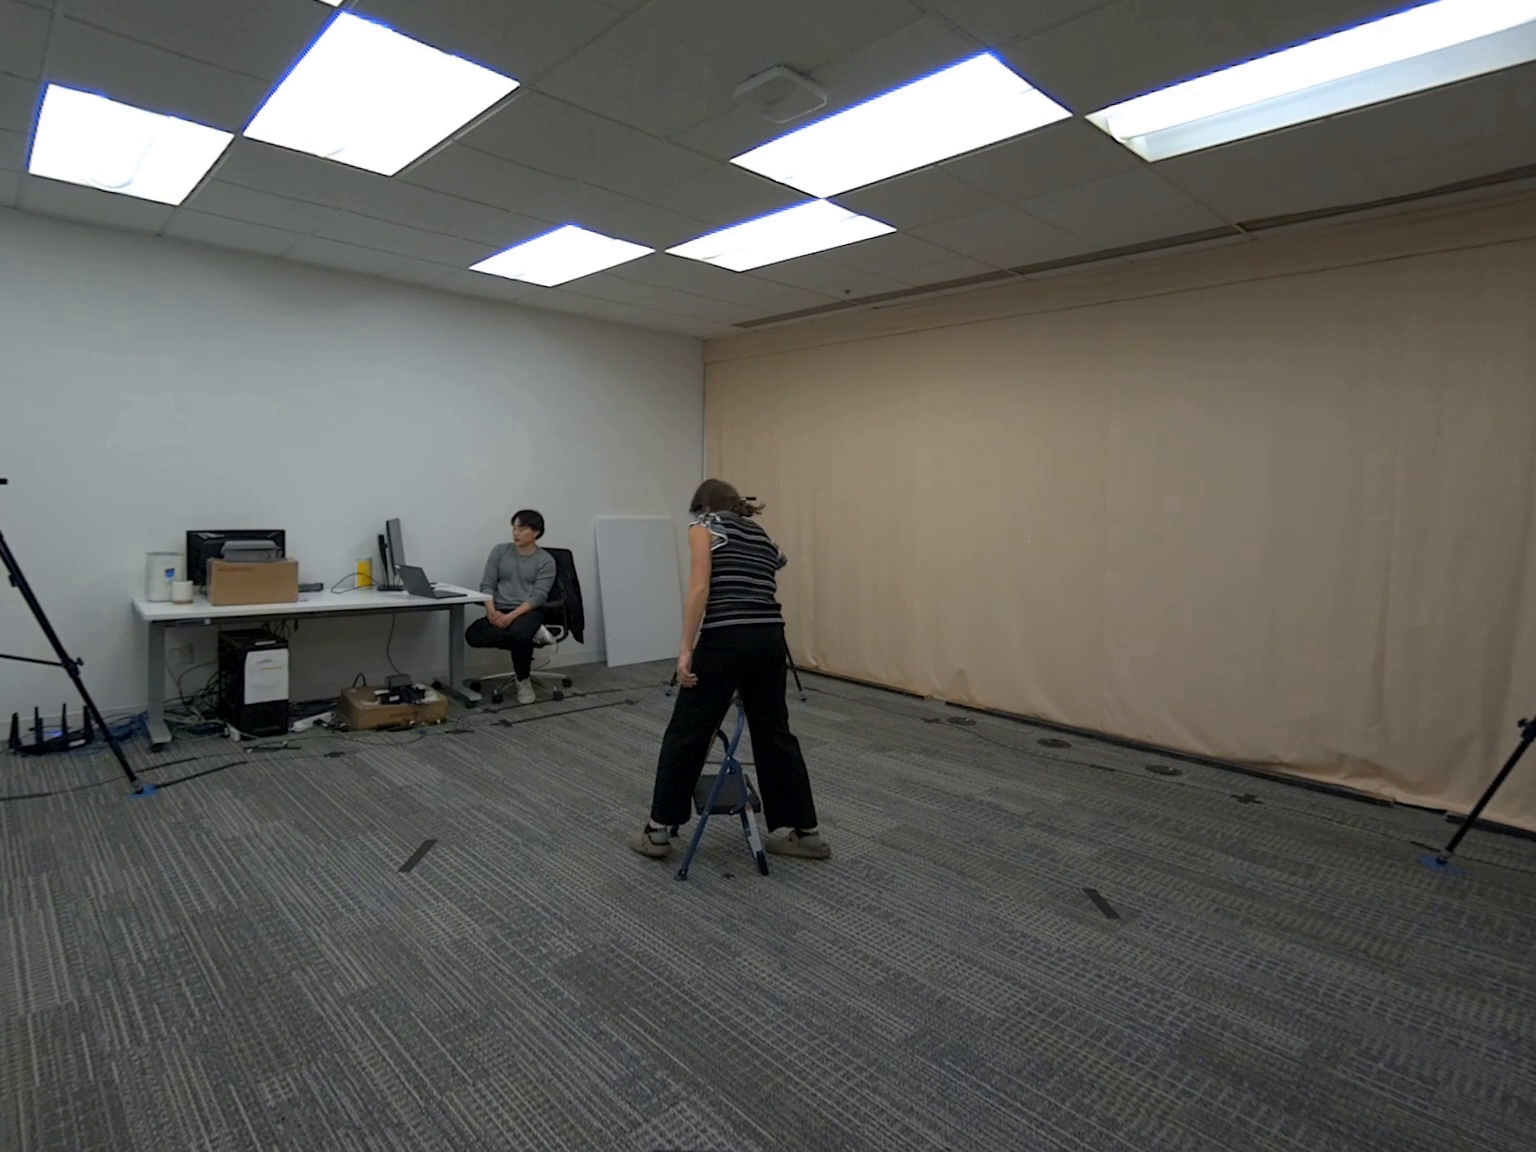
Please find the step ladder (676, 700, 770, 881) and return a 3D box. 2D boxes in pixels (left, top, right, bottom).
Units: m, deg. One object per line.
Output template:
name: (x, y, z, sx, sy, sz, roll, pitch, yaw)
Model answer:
step ladder: (-0.203, 0.788, 3.272, 0.347, 0.604, 0.435, 0, 4, -10)
